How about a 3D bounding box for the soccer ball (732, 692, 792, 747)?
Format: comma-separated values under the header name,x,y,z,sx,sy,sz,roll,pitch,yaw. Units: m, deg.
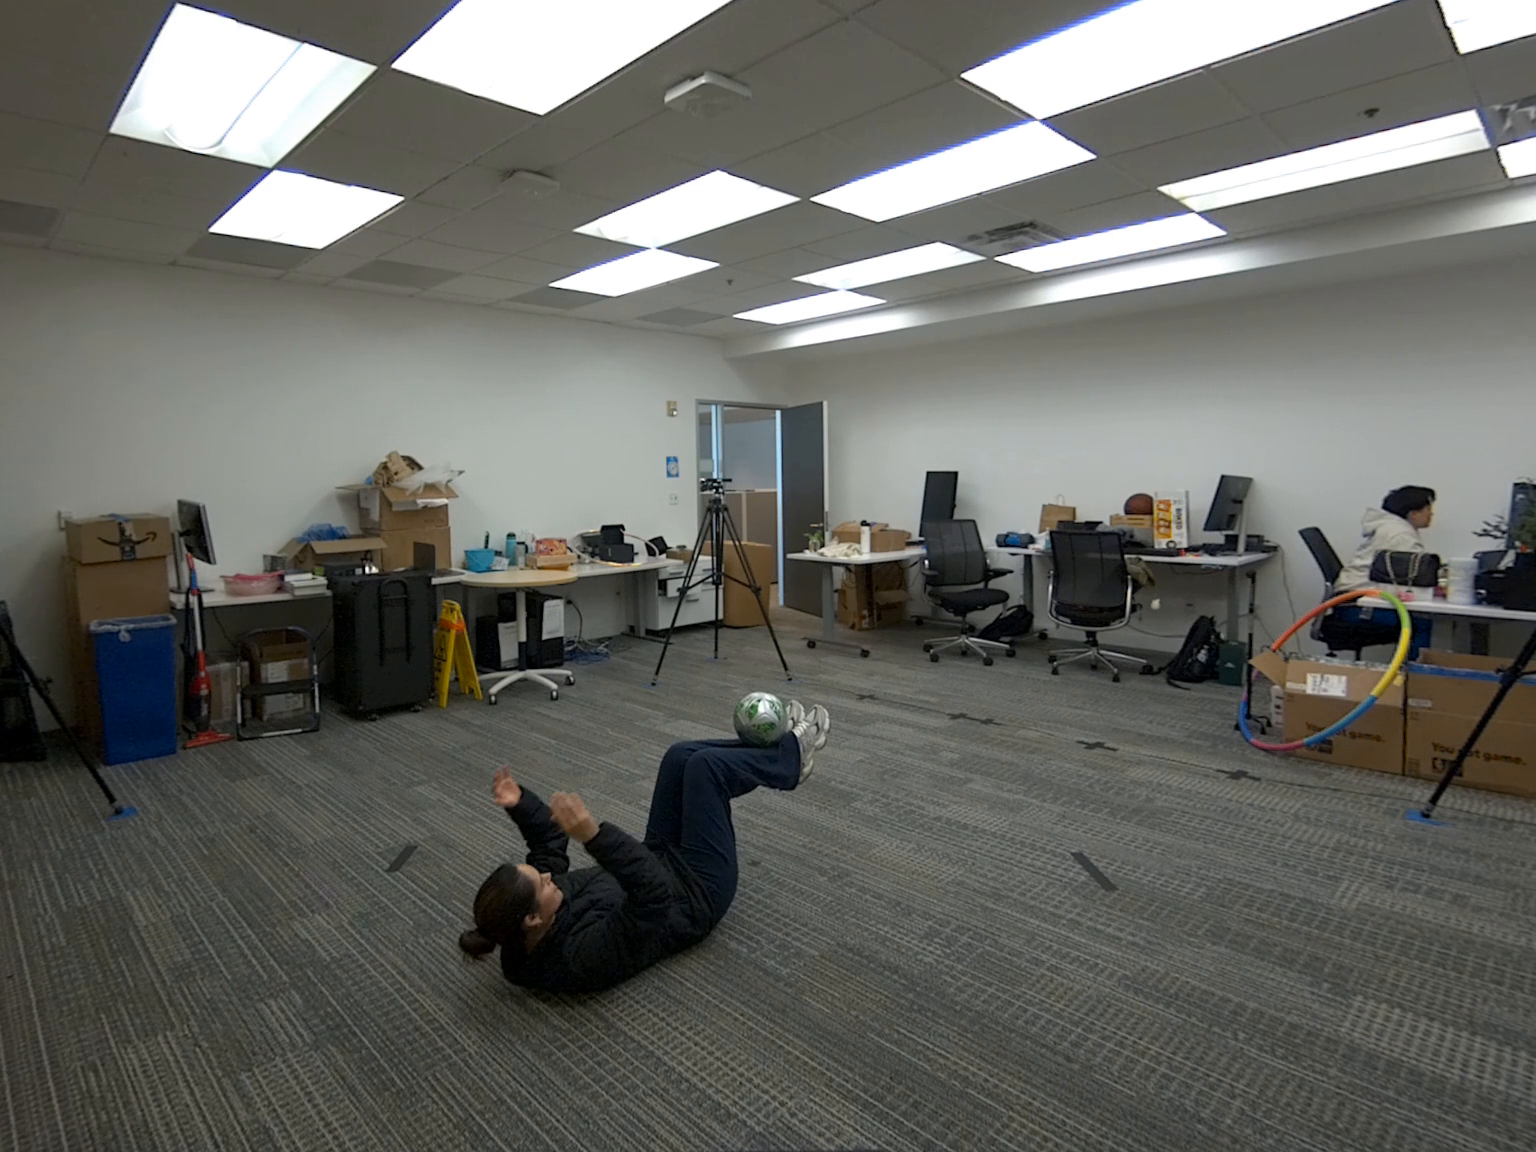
name,x,y,z,sx,sy,sz,roll,pitch,yaw
soccer ball,-0.021,0.483,2.889,0.187,0.187,0.188,0,1,-2
